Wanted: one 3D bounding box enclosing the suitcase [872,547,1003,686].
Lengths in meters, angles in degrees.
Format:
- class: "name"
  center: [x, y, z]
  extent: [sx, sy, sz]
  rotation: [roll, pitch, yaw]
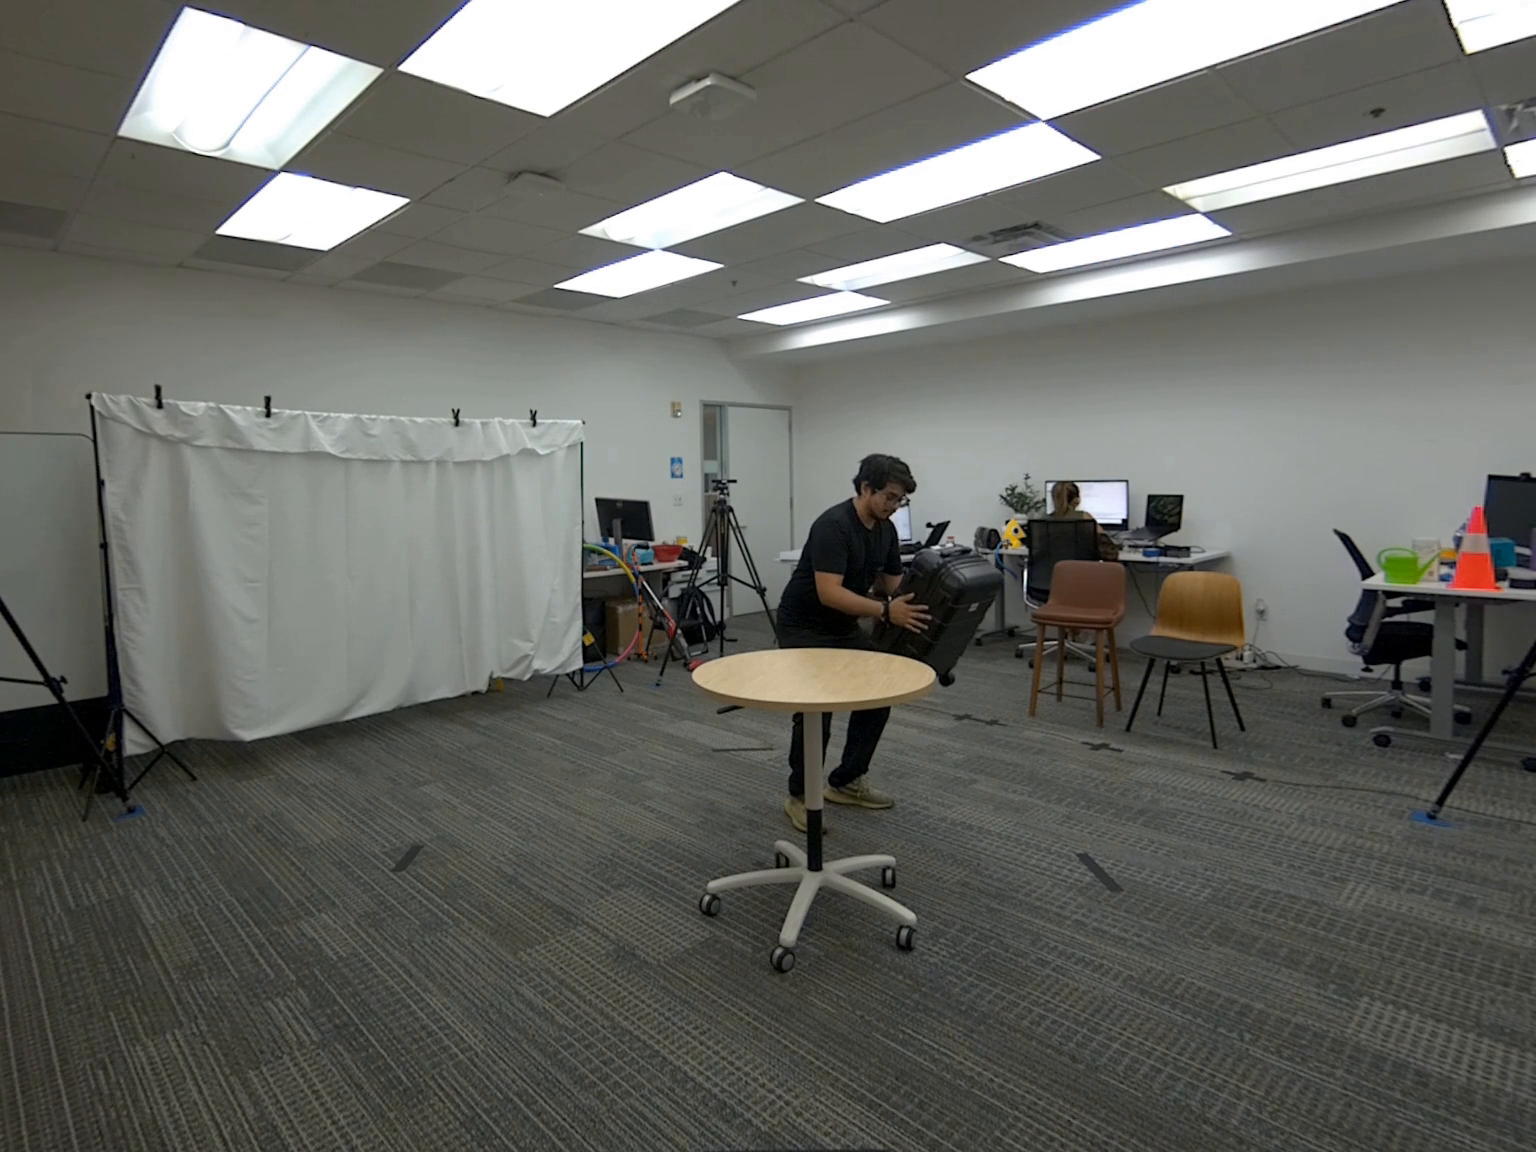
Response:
- class: "suitcase"
  center: [0.642, 0.156, 3.268]
  extent: [0.365, 0.544, 0.257]
  rotation: [-6, 38, -48]
